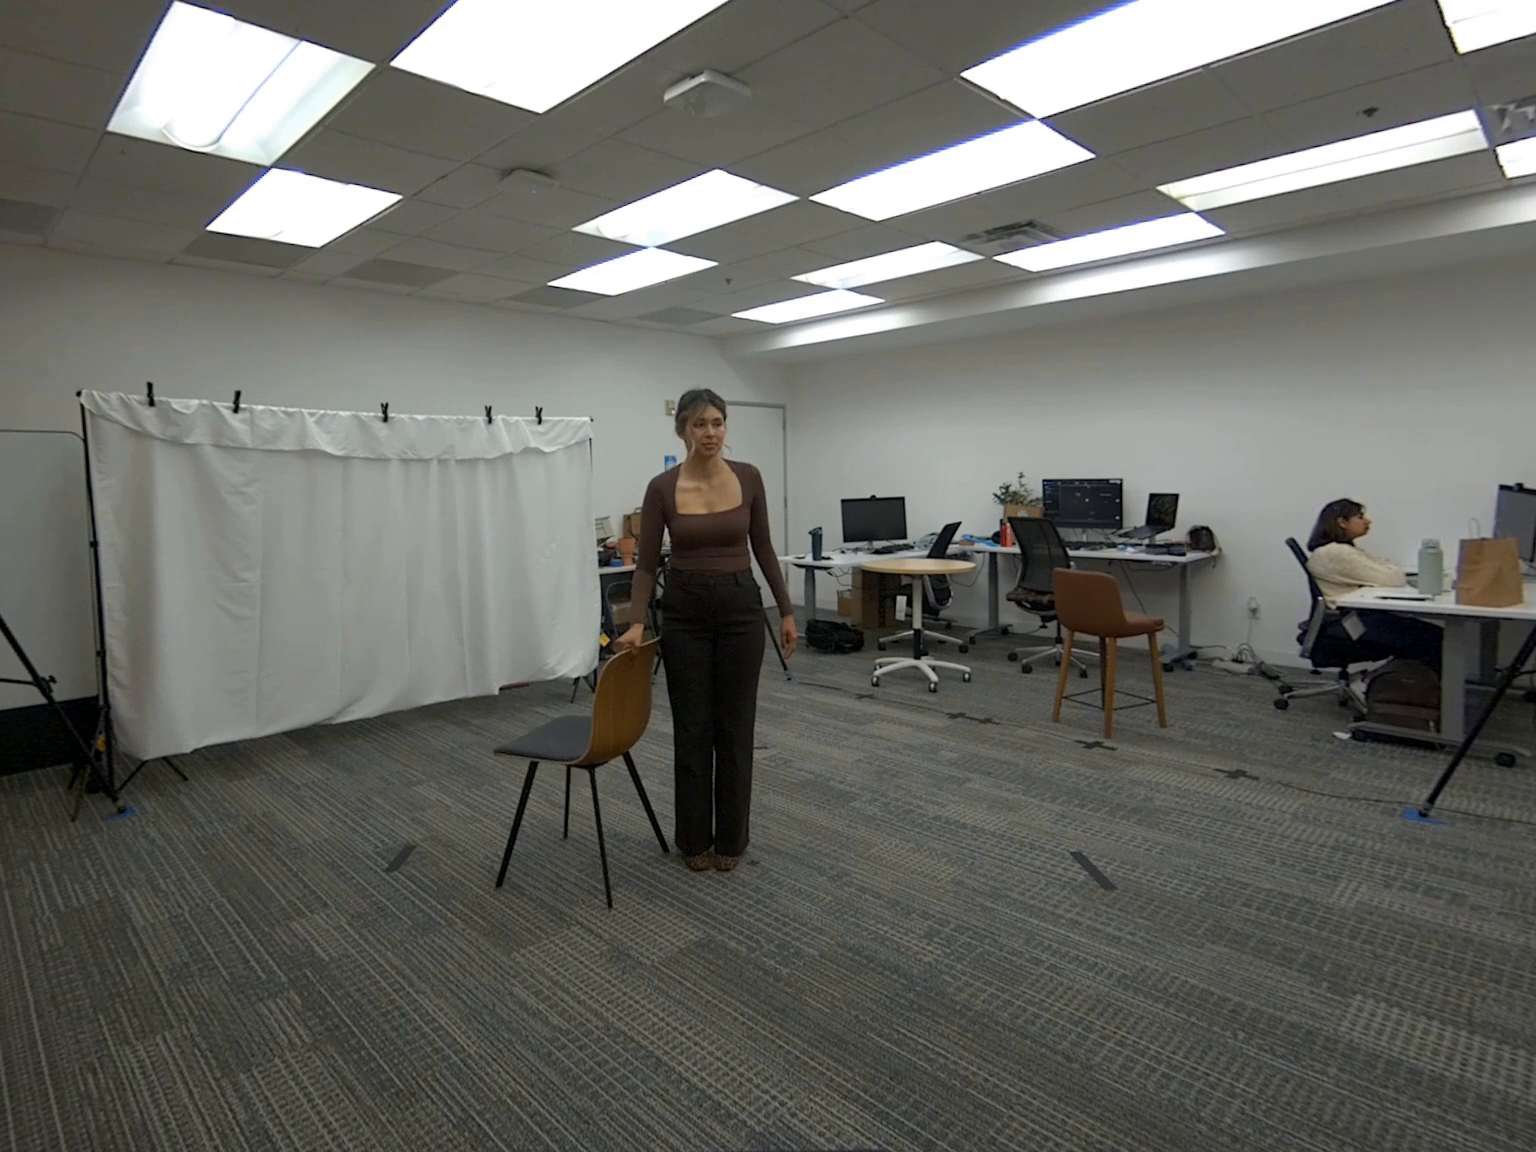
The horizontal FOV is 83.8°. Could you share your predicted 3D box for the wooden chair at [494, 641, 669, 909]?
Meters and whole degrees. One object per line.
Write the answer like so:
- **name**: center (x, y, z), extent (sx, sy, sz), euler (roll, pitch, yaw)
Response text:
- **wooden chair**: center (-0.661, 0.632, 3.043), extent (0.534, 0.873, 0.471), euler (5, 6, 20)
